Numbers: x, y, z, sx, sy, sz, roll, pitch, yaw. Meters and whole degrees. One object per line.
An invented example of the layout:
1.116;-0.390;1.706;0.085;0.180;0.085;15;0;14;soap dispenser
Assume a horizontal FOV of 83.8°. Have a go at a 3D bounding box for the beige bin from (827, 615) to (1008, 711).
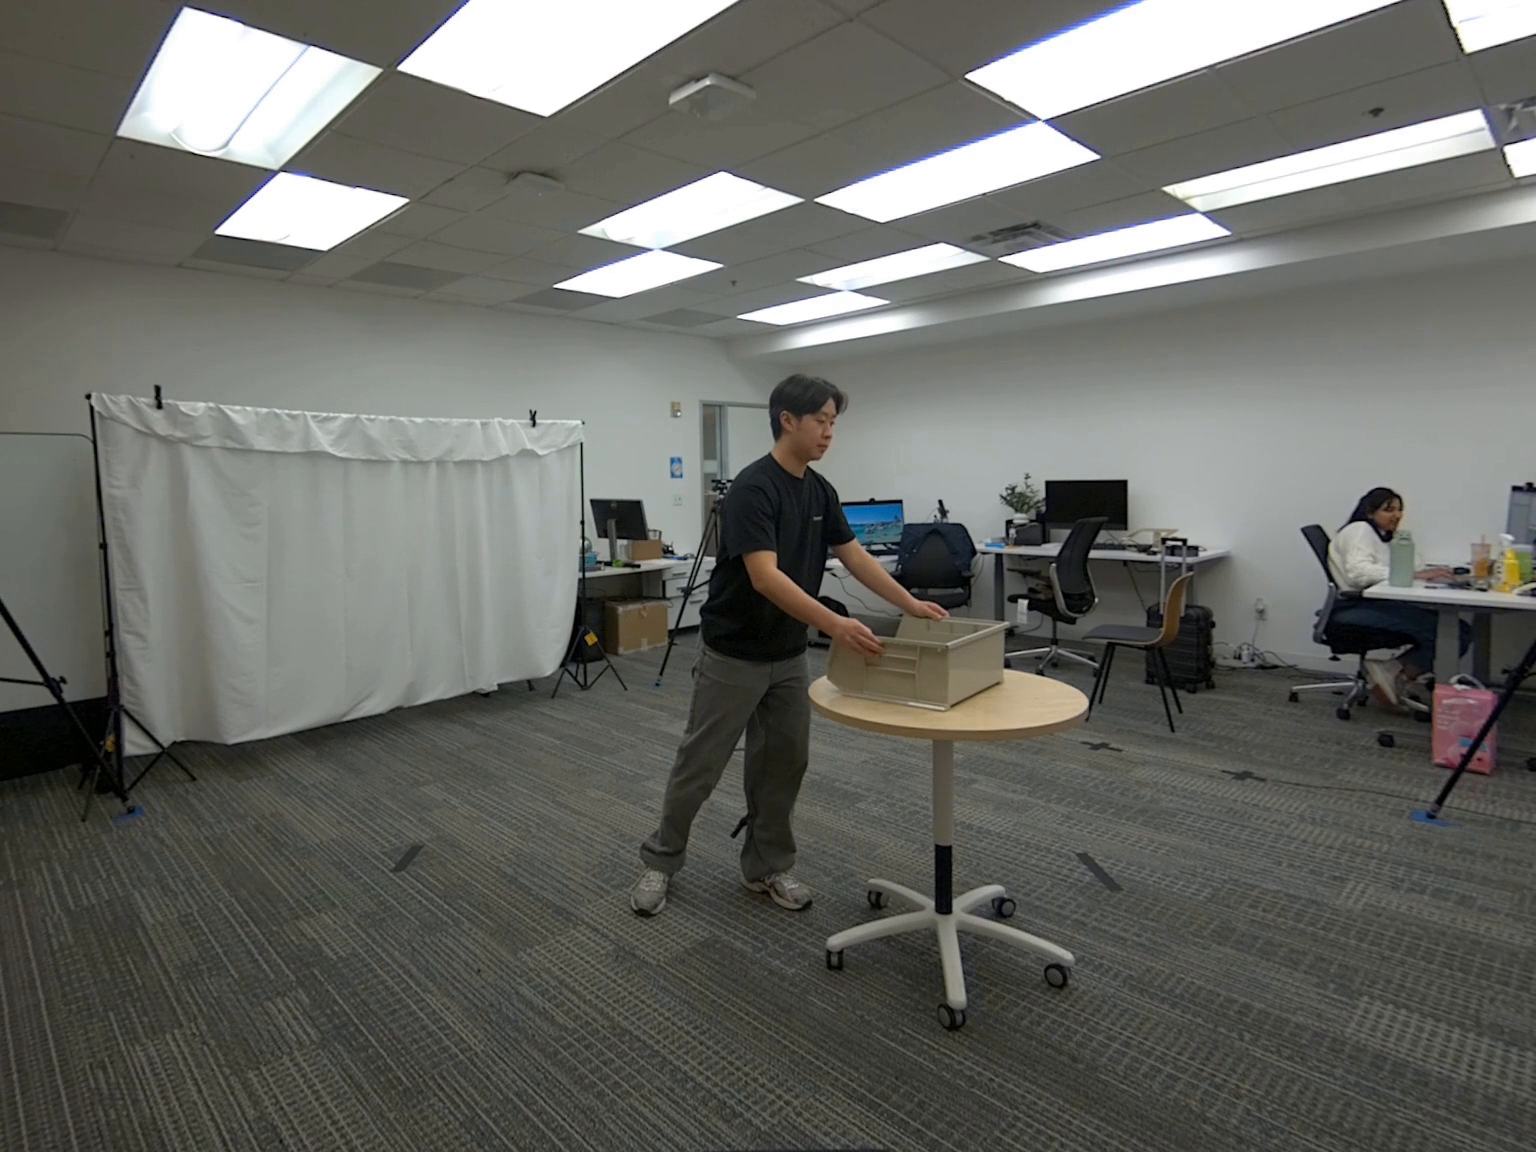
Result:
0.436;0.233;2.484;0.389;0.188;0.411;5;7;37;beige bin
